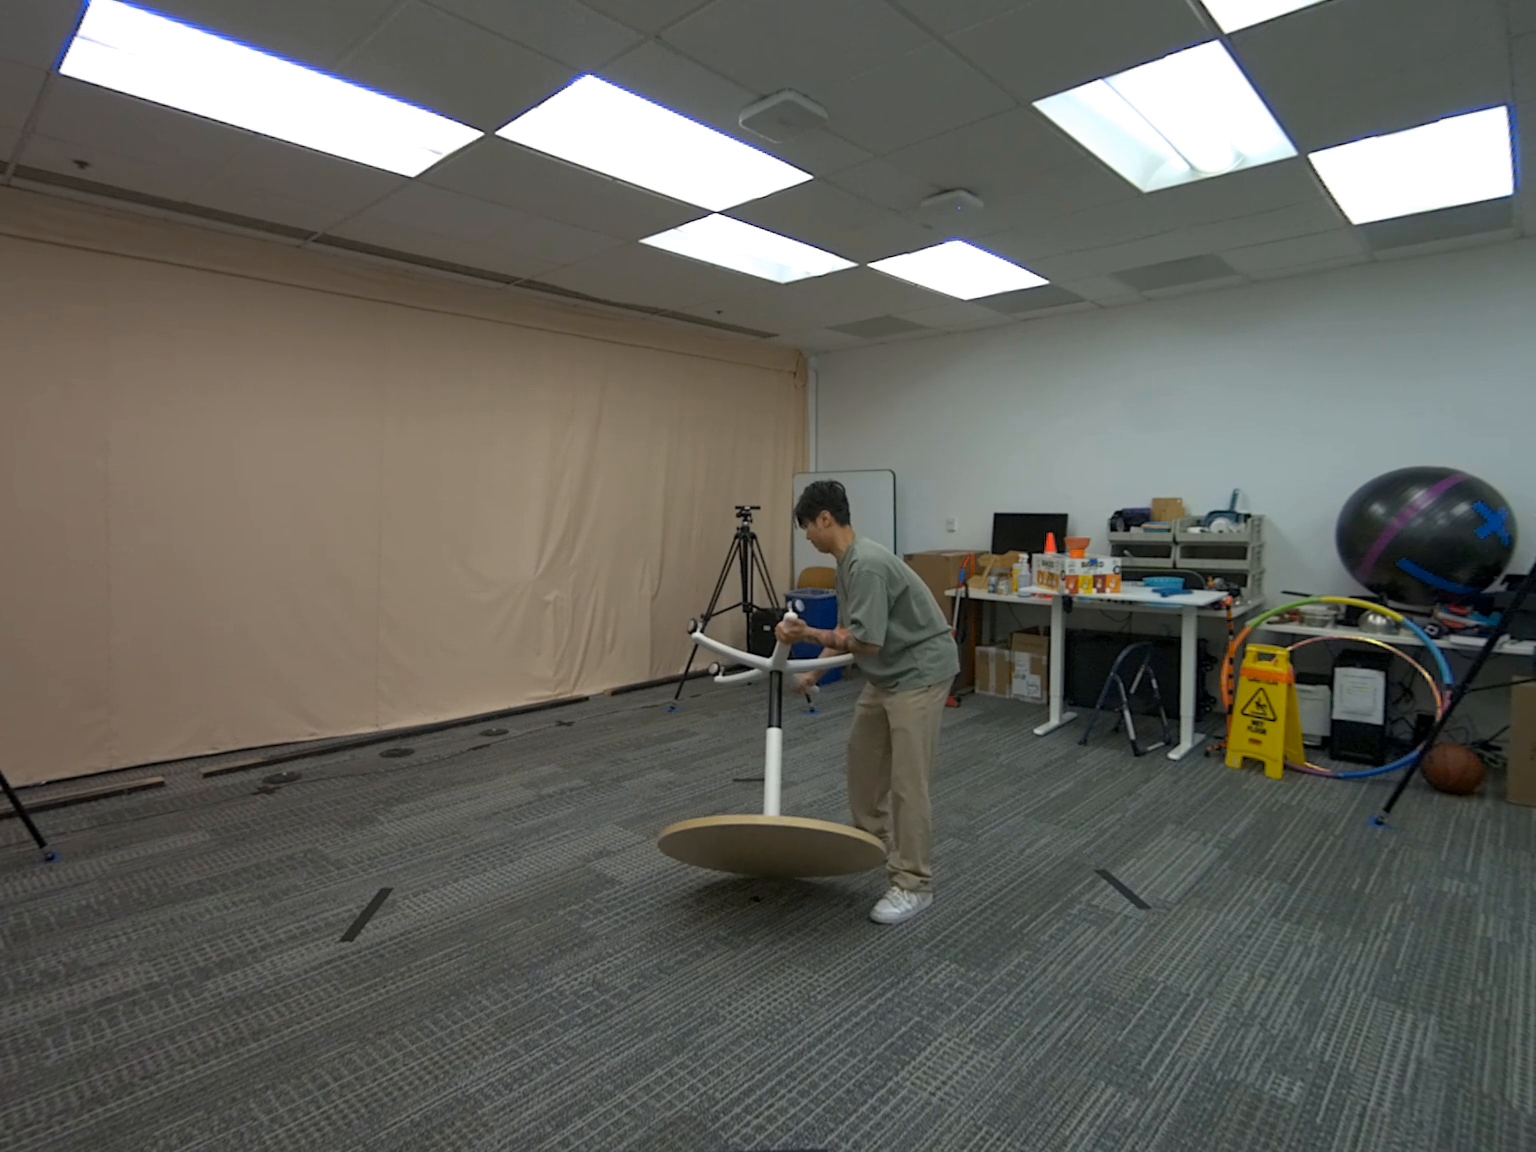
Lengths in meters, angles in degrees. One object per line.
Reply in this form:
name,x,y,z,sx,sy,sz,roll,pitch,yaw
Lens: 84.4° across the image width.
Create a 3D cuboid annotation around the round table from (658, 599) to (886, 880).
round table,0.021,0.600,3.056,0.786,0.798,0.773,3,-31,0
